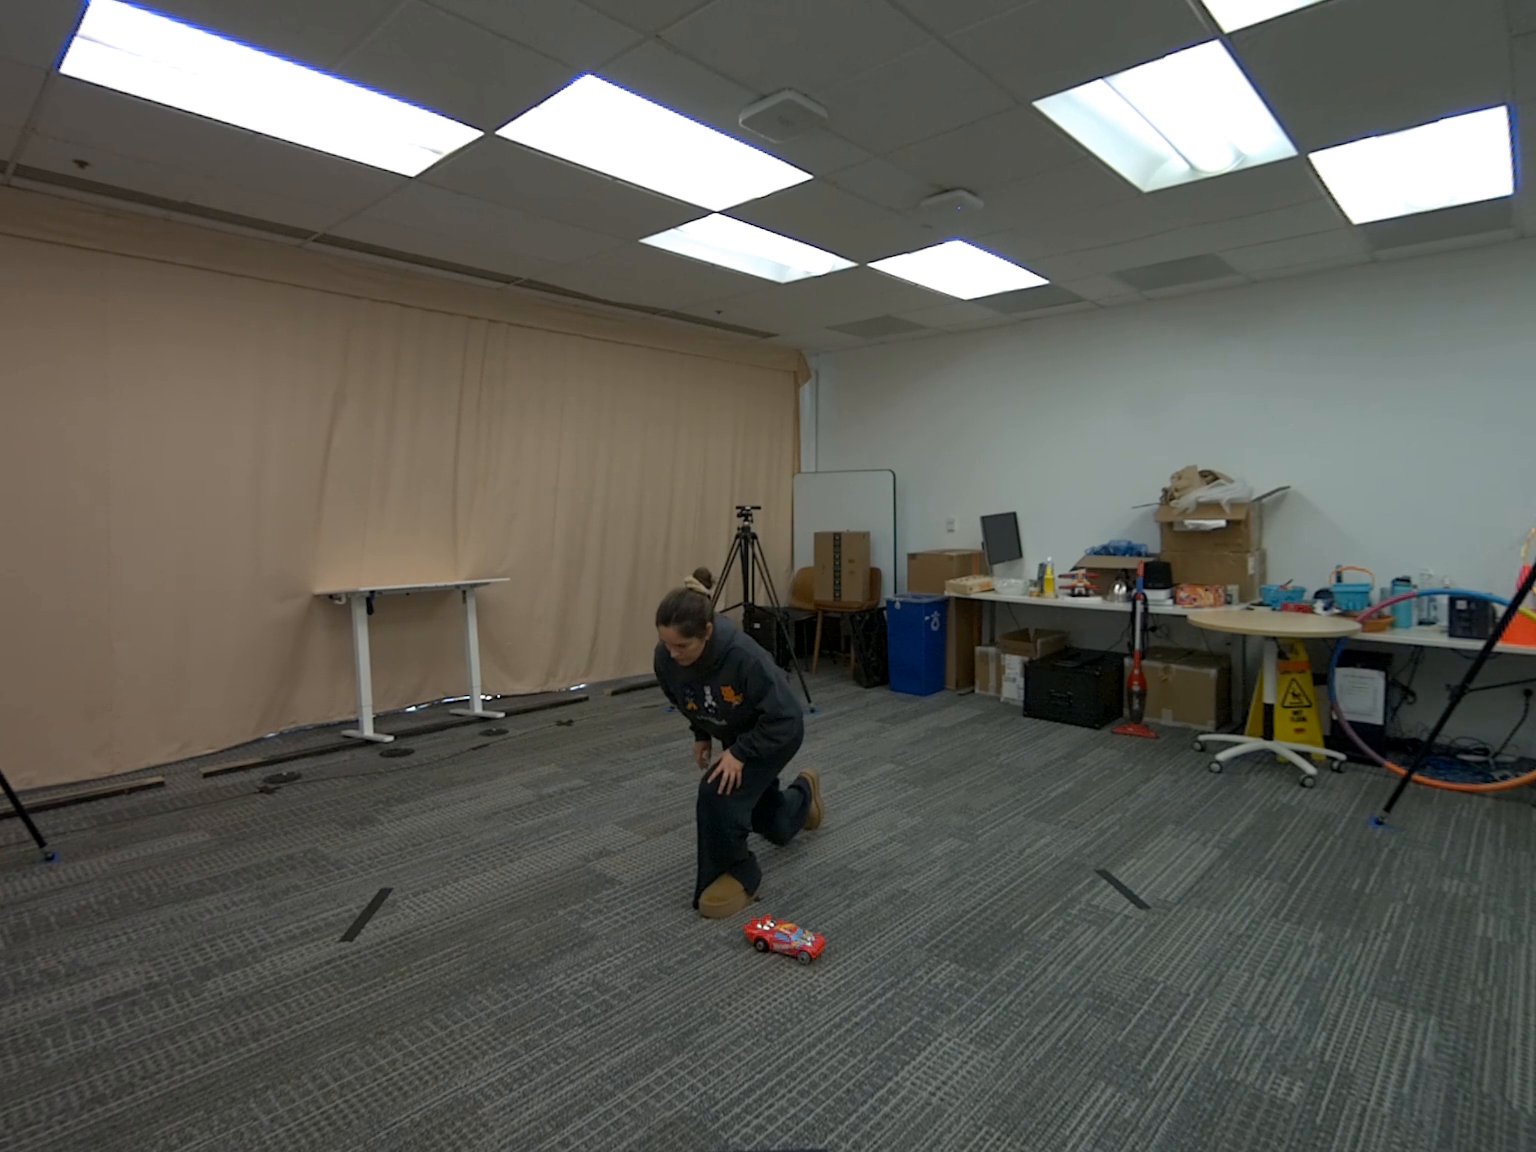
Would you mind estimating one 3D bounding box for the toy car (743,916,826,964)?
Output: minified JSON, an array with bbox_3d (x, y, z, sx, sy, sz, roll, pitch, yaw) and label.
[{"bbox_3d":[0.067,1.140,2.640,0.262,0.083,0.127,14,11,27],"label":"toy car"}]
